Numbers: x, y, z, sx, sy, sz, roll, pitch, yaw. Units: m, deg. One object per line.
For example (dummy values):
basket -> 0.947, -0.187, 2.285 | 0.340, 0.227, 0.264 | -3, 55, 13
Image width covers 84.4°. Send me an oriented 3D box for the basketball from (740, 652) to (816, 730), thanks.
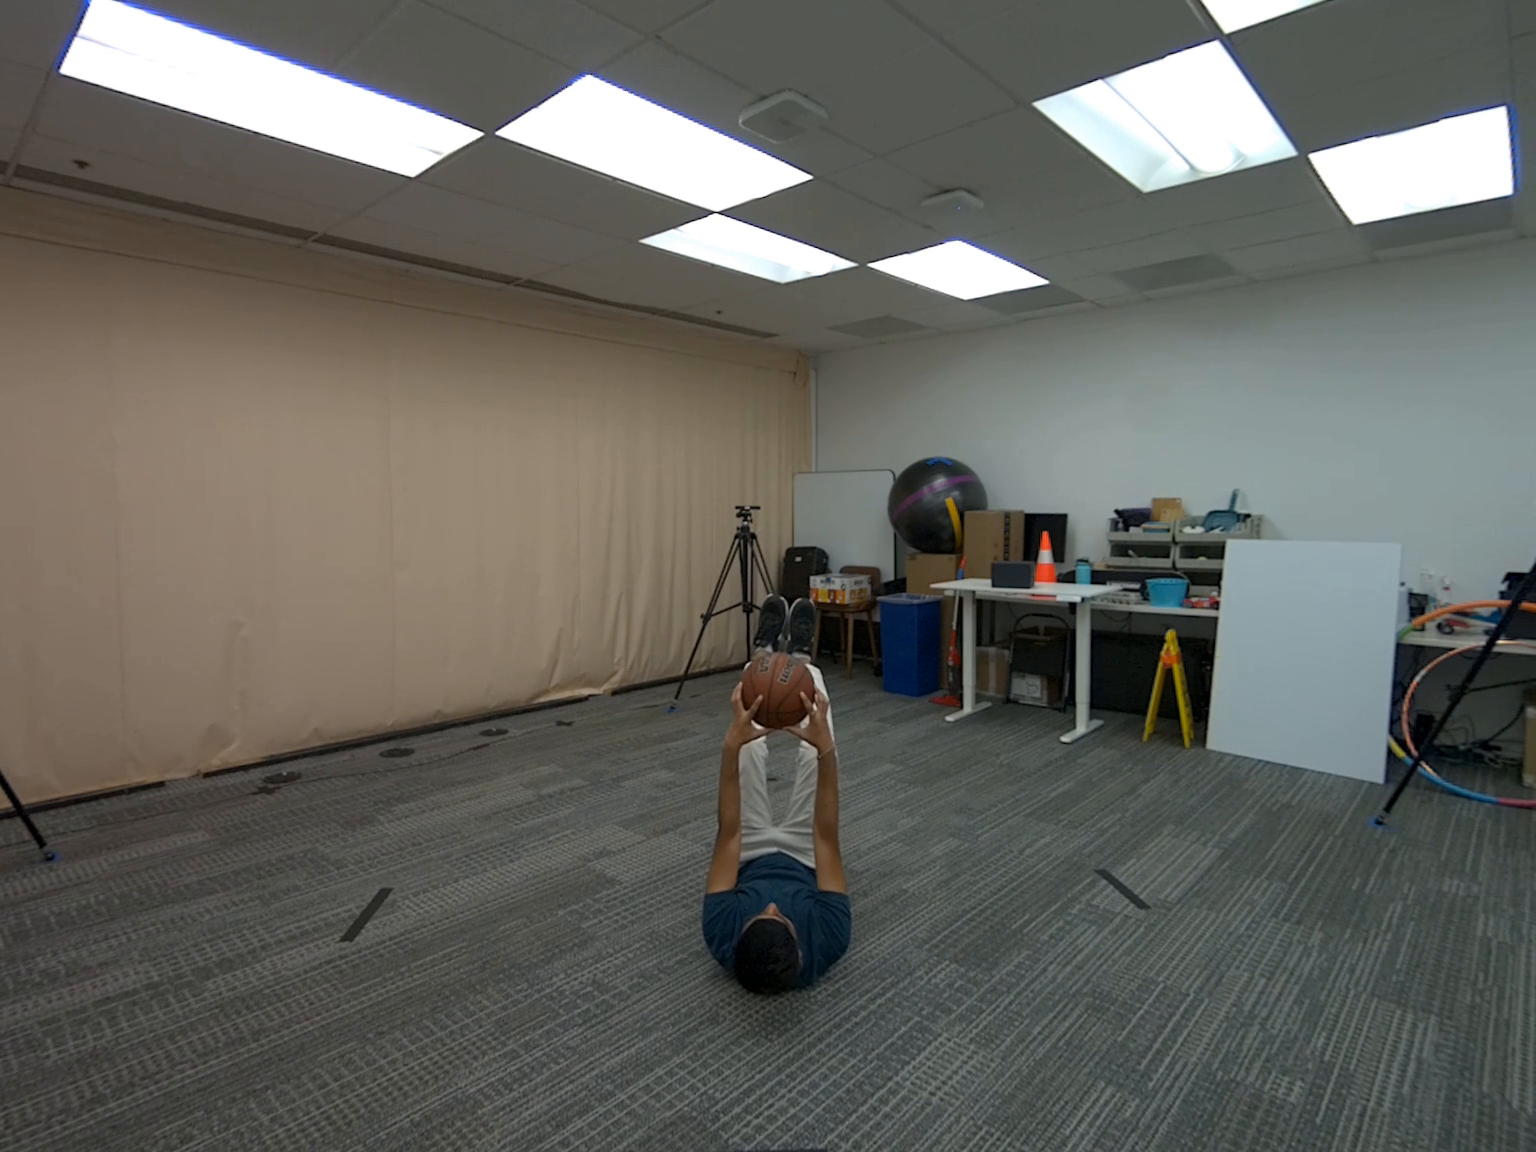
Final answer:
basketball -> 0.038, 0.363, 2.626 | 0.236, 0.235, 0.237 | 0, 4, -2
